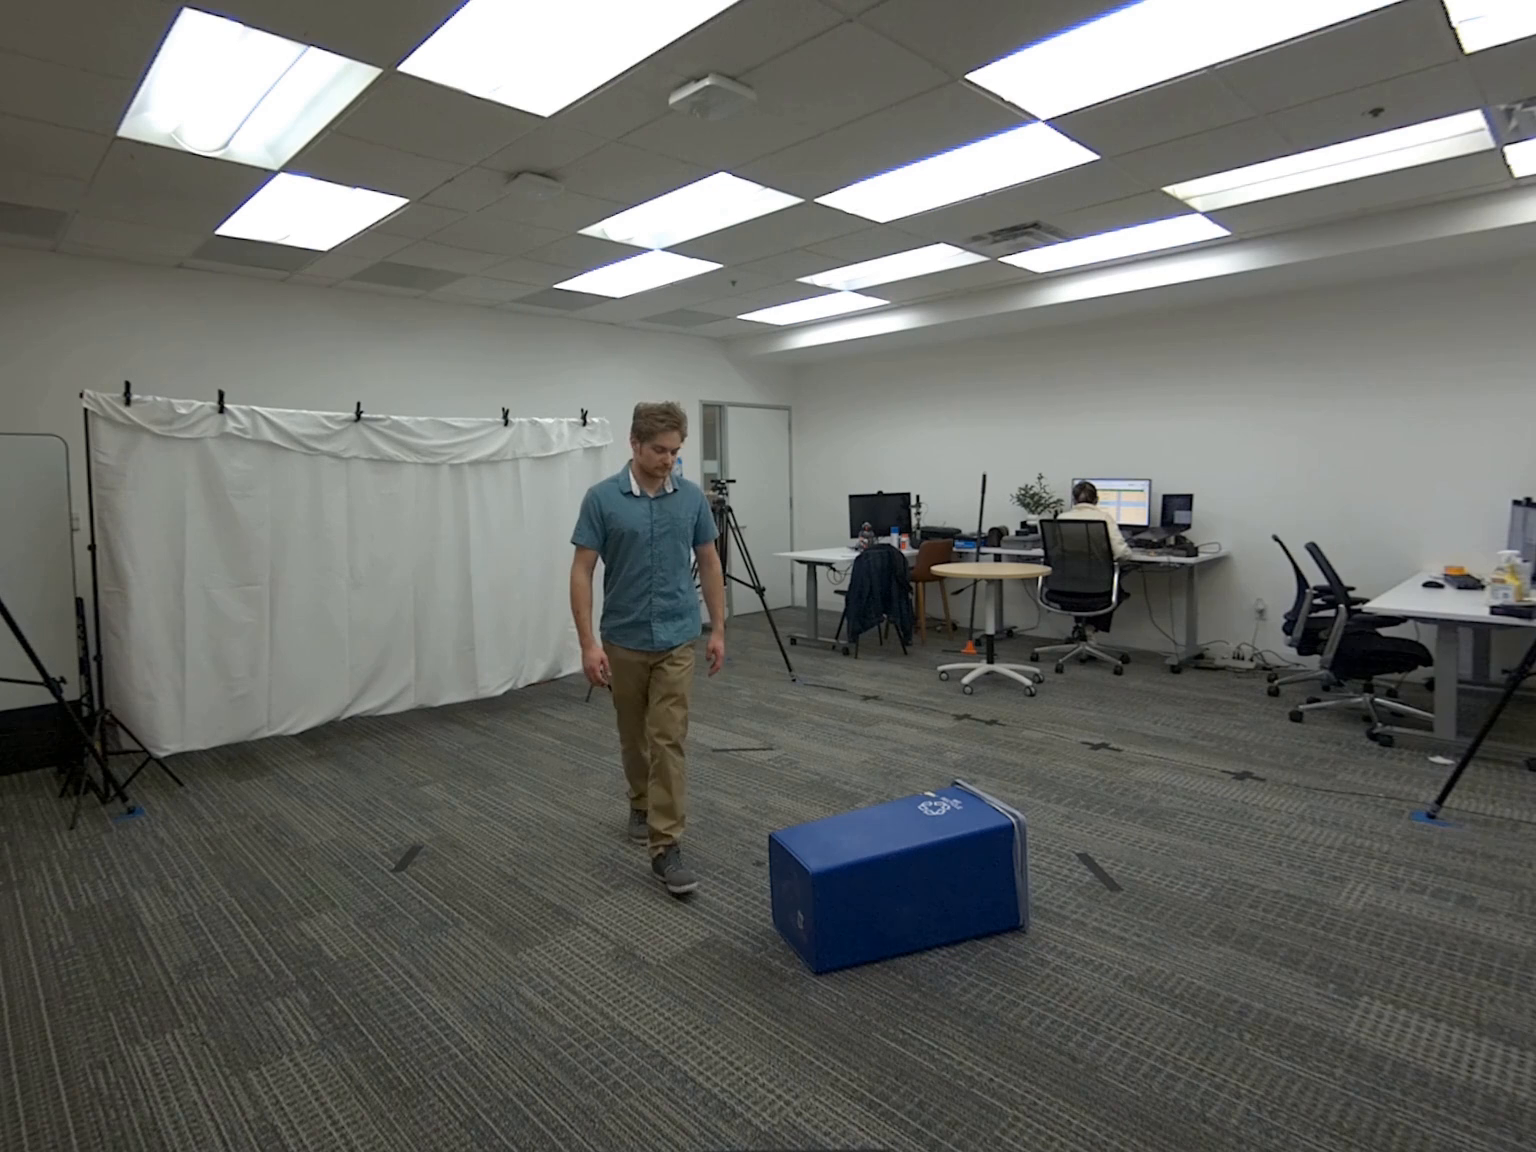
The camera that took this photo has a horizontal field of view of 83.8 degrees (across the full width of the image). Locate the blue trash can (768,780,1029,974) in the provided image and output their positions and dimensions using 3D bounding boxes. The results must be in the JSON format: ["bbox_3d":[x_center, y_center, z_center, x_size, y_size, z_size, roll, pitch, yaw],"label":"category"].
[{"bbox_3d":[0.399,0.926,2.635,0.701,0.376,0.383,-7,7,-21],"label":"blue trash can"}]
